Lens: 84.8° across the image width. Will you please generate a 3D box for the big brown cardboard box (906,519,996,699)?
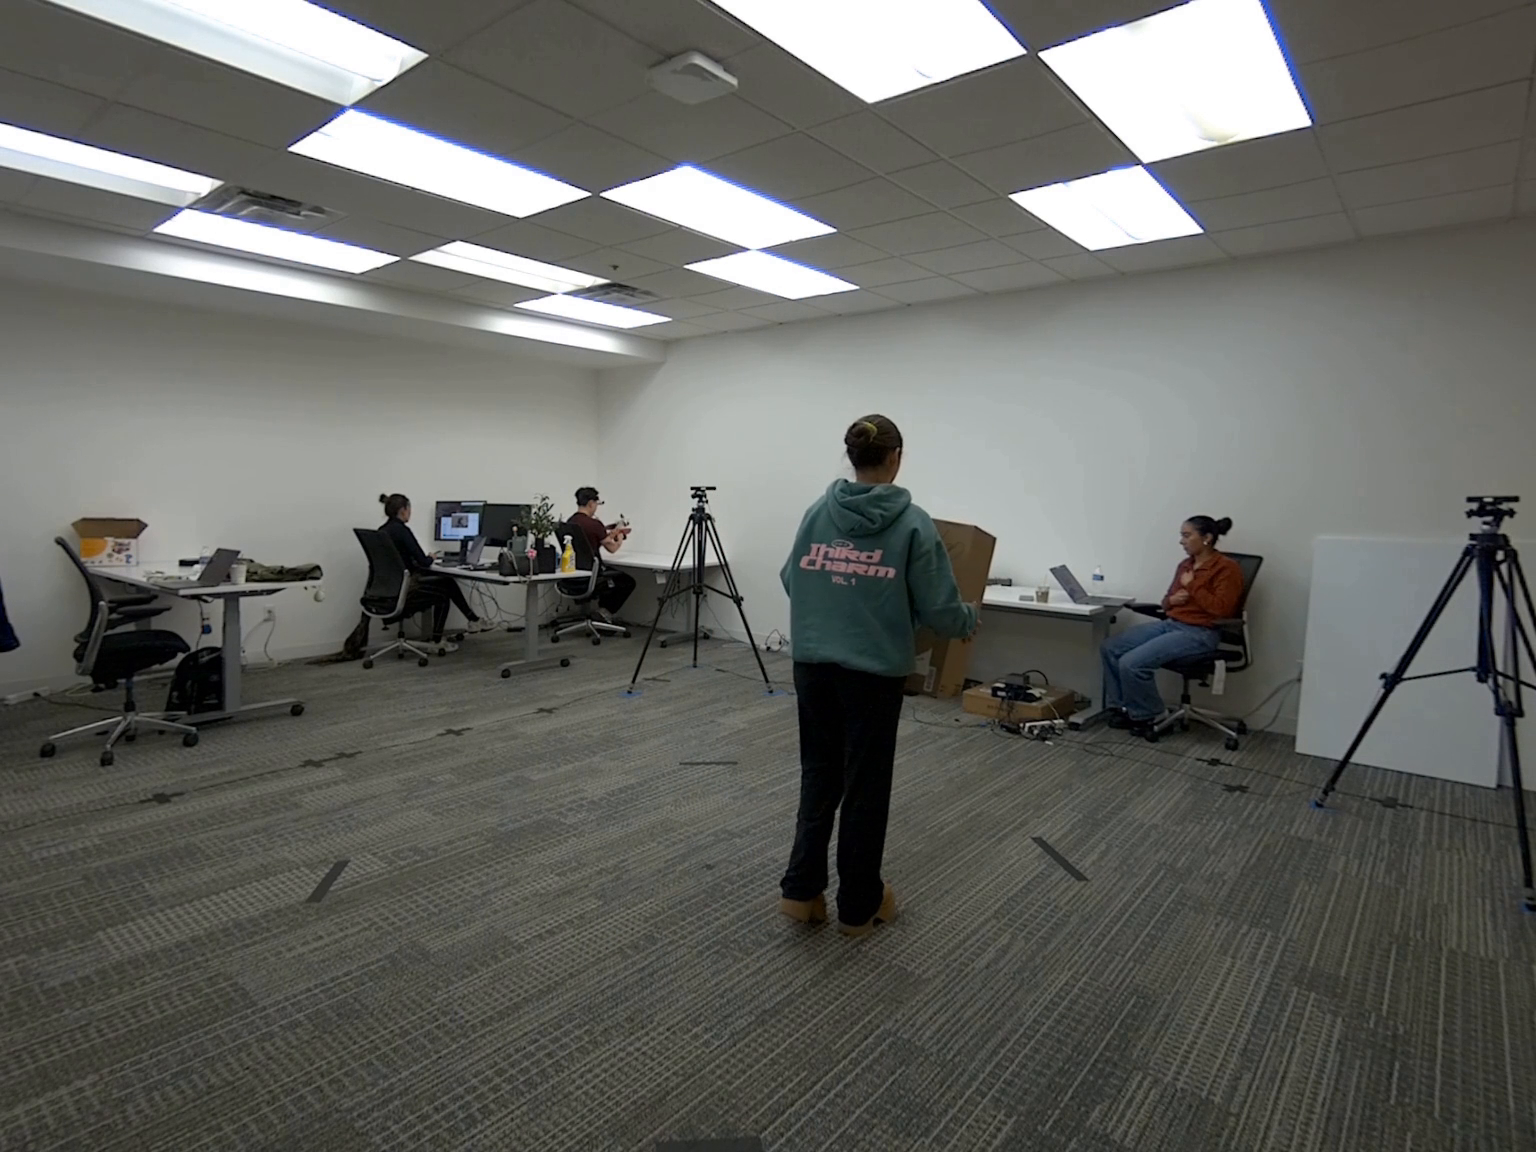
[{"bbox_3d":[0.479,0.095,2.909,0.432,0.590,0.224,12,-4,36],"label":"big brown cardboard box"}]
